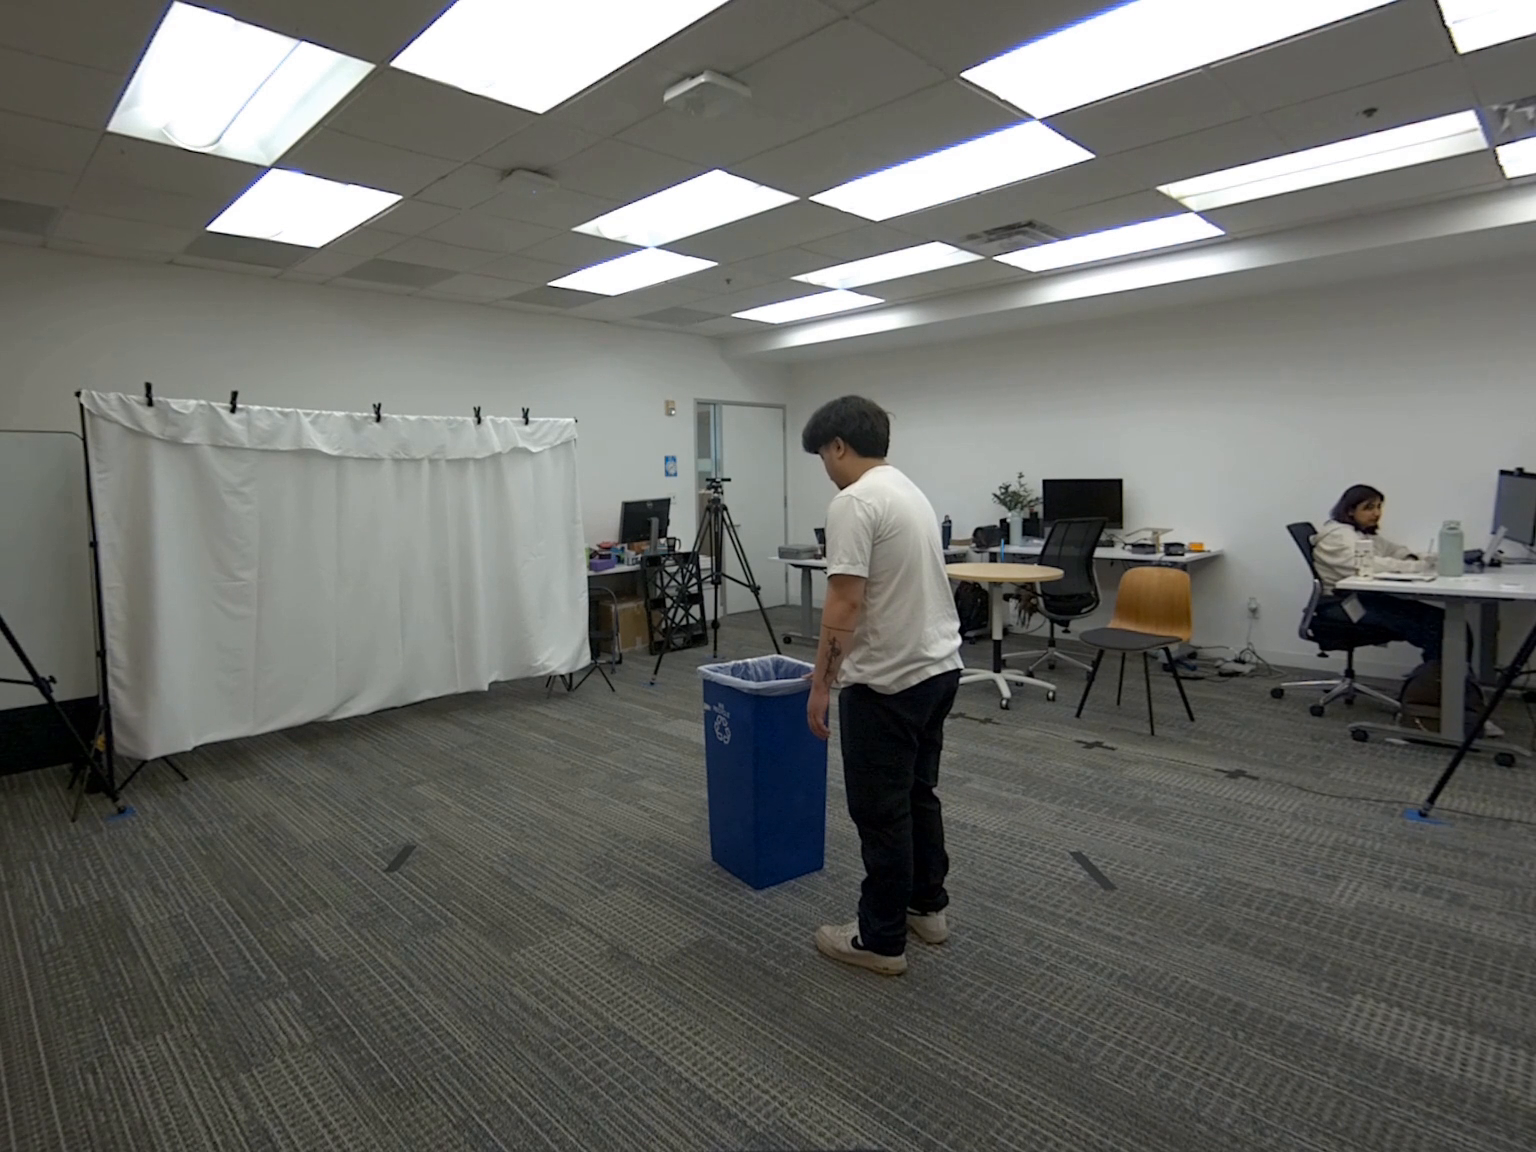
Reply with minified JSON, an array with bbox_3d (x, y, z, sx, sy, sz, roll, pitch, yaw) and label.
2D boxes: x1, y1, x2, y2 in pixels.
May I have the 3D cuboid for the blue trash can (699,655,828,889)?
[{"bbox_3d":[0.000,0.688,3.069,0.368,0.711,0.385,-4,5,-35],"label":"blue trash can"}]
